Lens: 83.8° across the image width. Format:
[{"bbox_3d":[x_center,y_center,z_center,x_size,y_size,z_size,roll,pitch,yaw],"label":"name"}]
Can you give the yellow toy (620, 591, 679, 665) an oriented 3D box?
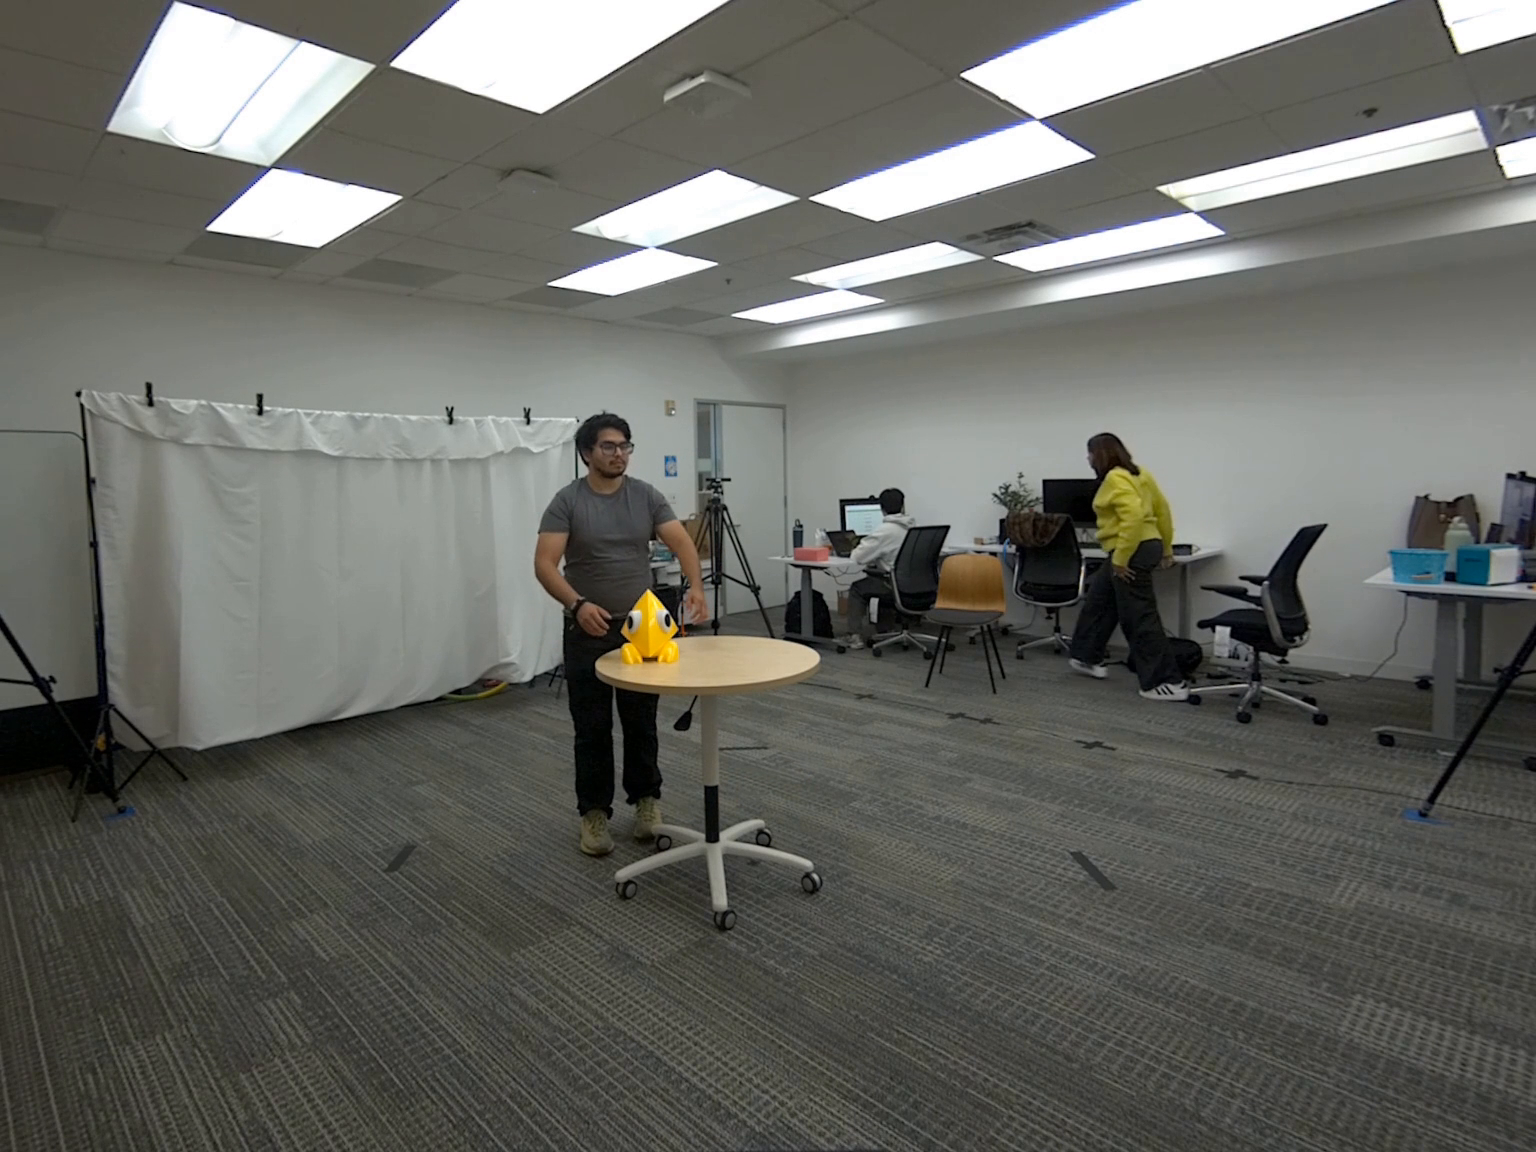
[{"bbox_3d":[-0.401,0.170,2.947,0.204,0.230,0.195,-2,5,-5],"label":"yellow toy"}]
